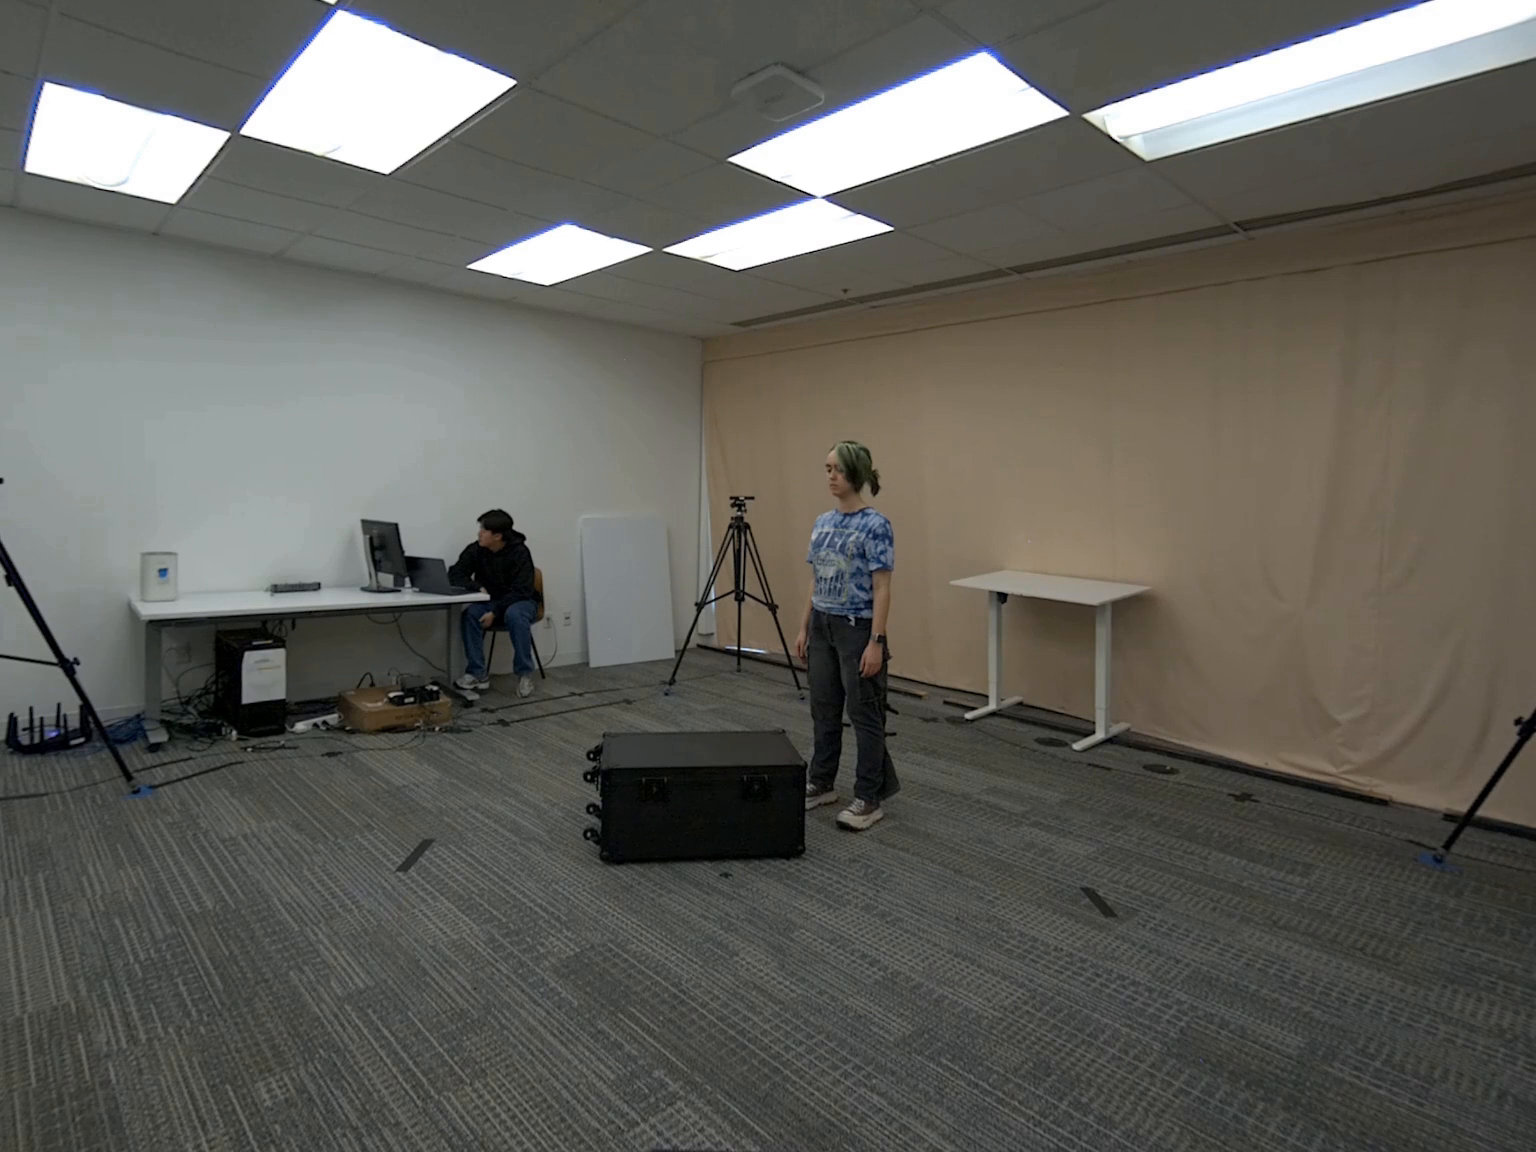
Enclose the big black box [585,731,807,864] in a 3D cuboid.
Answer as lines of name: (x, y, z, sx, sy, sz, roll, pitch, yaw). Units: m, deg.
big black box: (-0.259, 0.881, 3.421, 0.856, 0.395, 0.526, 1, 5, -8)
